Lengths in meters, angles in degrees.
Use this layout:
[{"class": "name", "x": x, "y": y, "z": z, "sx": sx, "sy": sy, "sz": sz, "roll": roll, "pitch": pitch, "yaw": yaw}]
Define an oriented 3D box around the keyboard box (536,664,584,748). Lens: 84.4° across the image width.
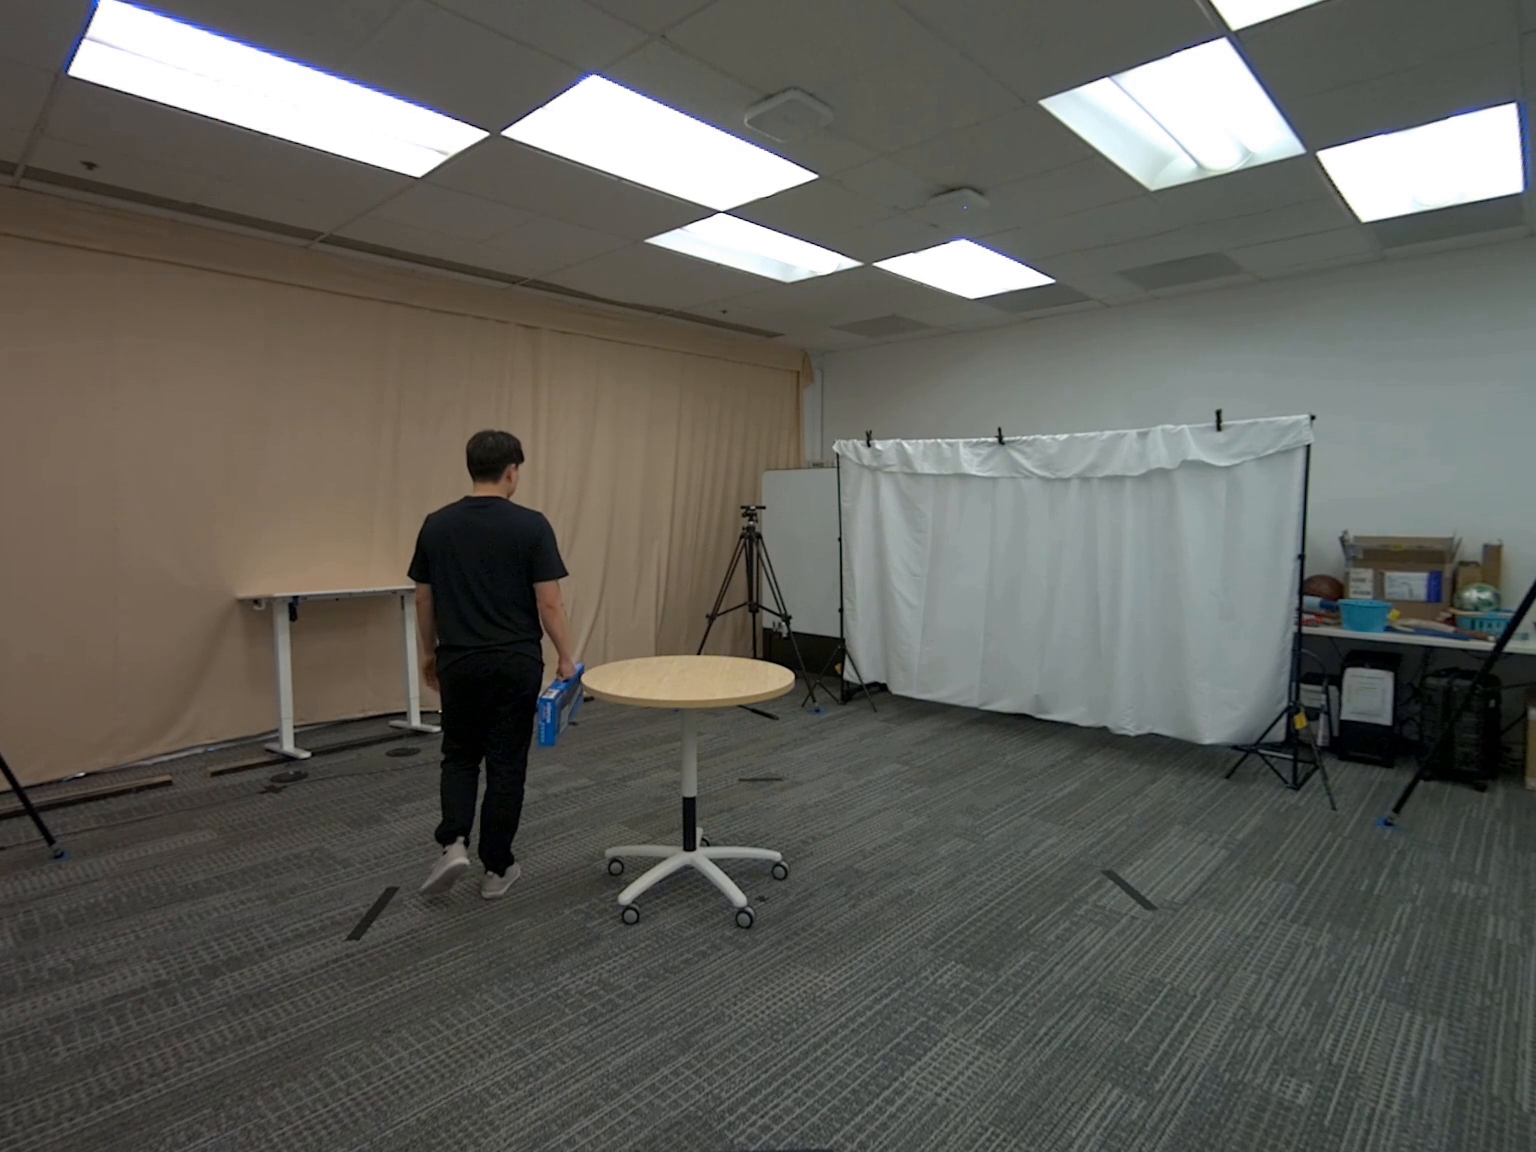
[{"class": "keyboard box", "x": -0.768, "y": 0.473, "z": 3.140, "sx": 0.059, "sy": 0.175, "sz": 0.438, "roll": 4, "pitch": 11, "yaw": 1}]
